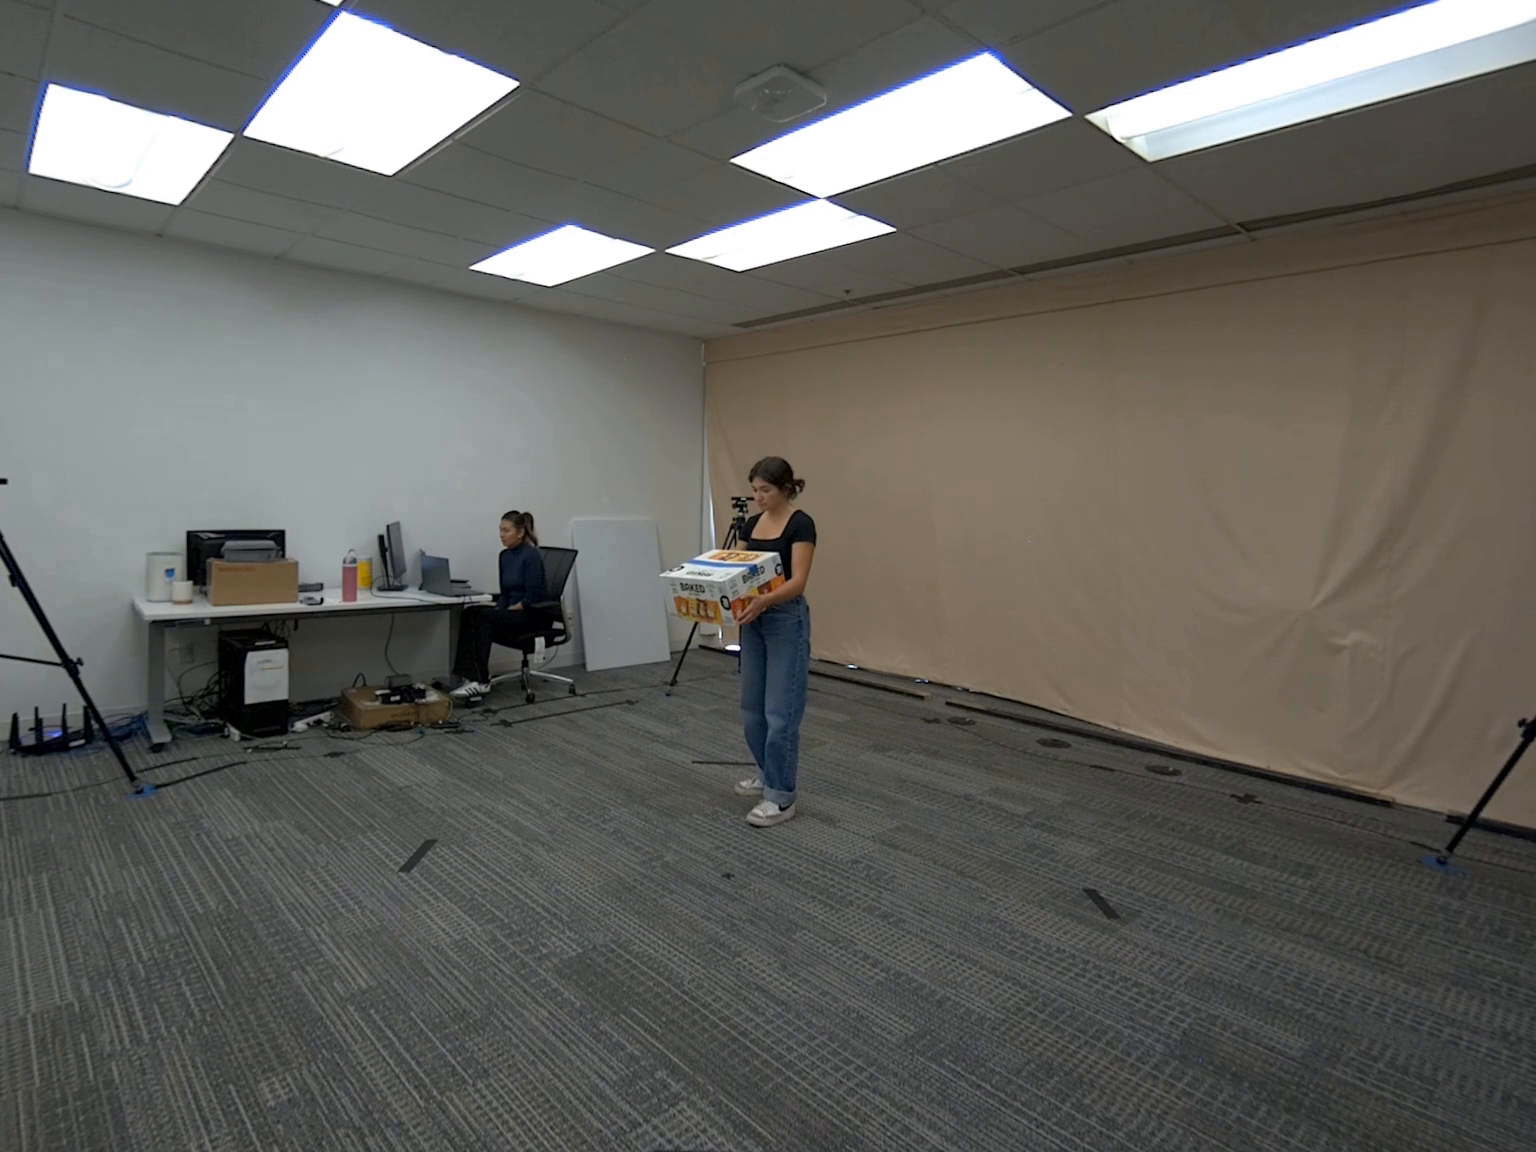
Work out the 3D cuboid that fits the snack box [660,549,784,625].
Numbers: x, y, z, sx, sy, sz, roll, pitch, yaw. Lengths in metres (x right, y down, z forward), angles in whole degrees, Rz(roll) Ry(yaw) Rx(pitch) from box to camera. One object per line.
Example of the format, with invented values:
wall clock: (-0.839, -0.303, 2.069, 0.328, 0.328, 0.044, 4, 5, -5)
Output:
snack box: (-0.199, 0.042, 3.614, 0.415, 0.203, 0.336, 4, 23, 44)
